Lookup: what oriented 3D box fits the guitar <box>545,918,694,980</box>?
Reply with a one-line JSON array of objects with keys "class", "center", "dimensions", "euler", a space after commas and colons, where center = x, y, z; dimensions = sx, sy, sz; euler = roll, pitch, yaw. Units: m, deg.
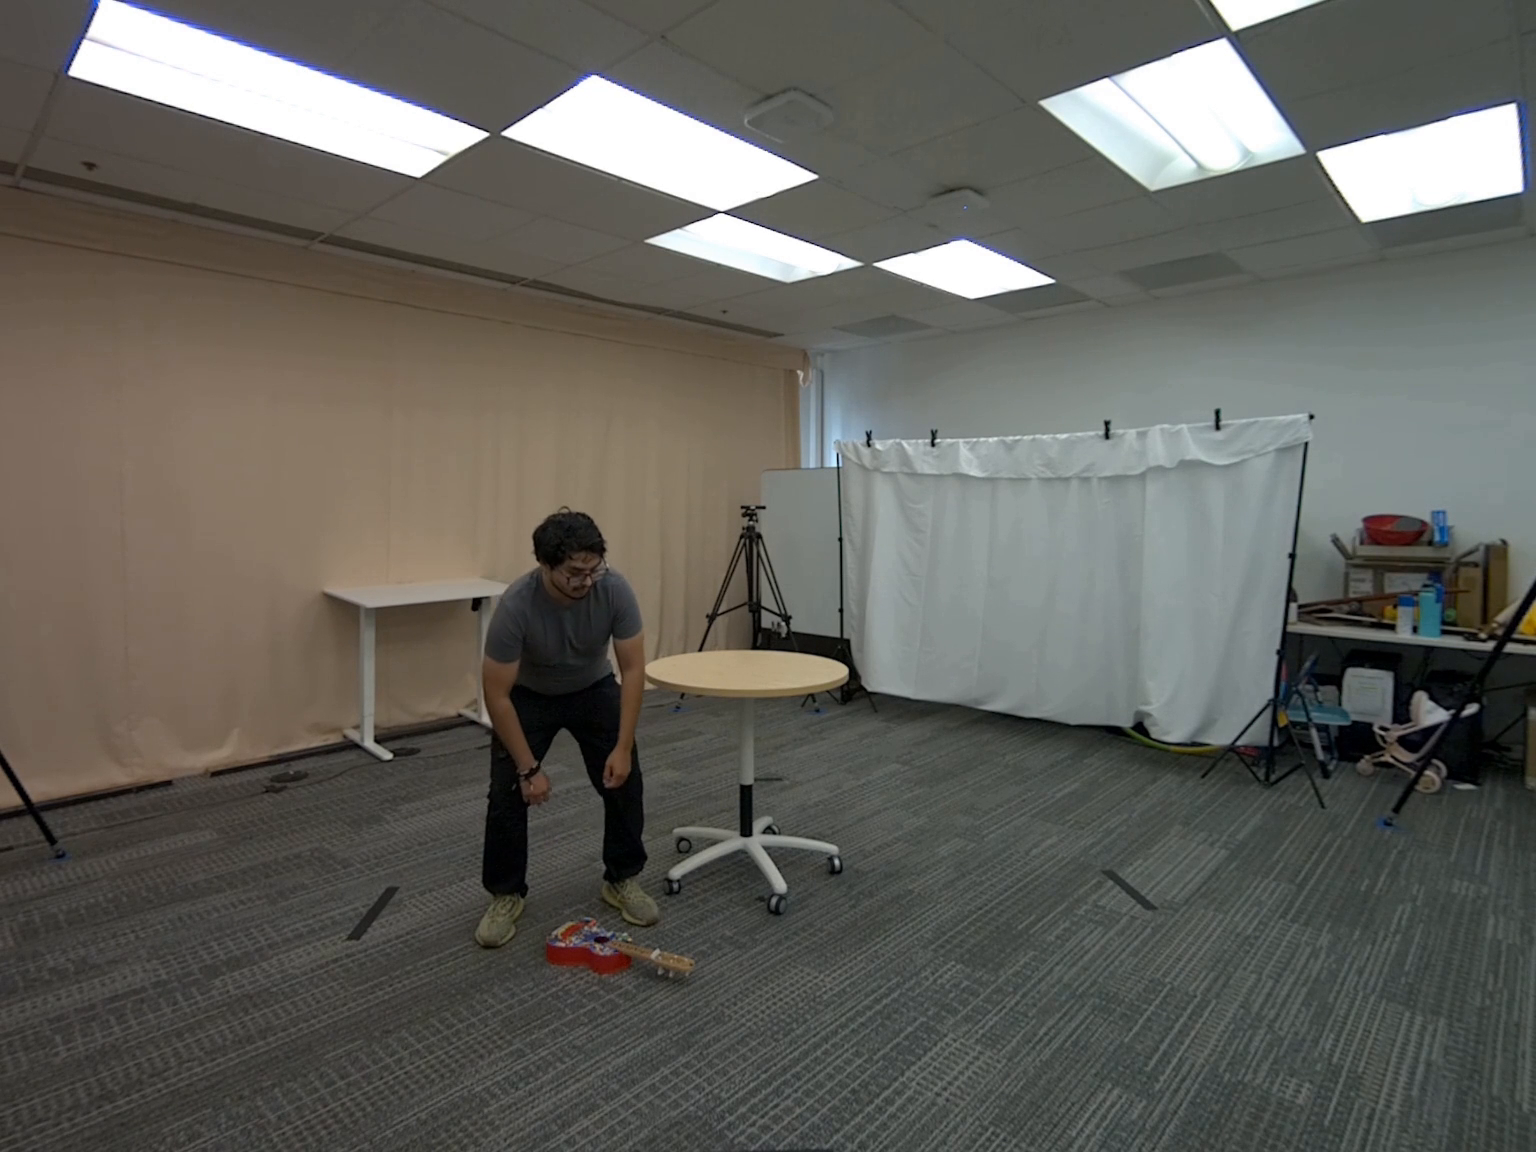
[{"class": "guitar", "center": [-0.461, 1.152, 2.529], "dimensions": [0.513, 0.070, 0.187], "euler": [2, 6, 35]}]
